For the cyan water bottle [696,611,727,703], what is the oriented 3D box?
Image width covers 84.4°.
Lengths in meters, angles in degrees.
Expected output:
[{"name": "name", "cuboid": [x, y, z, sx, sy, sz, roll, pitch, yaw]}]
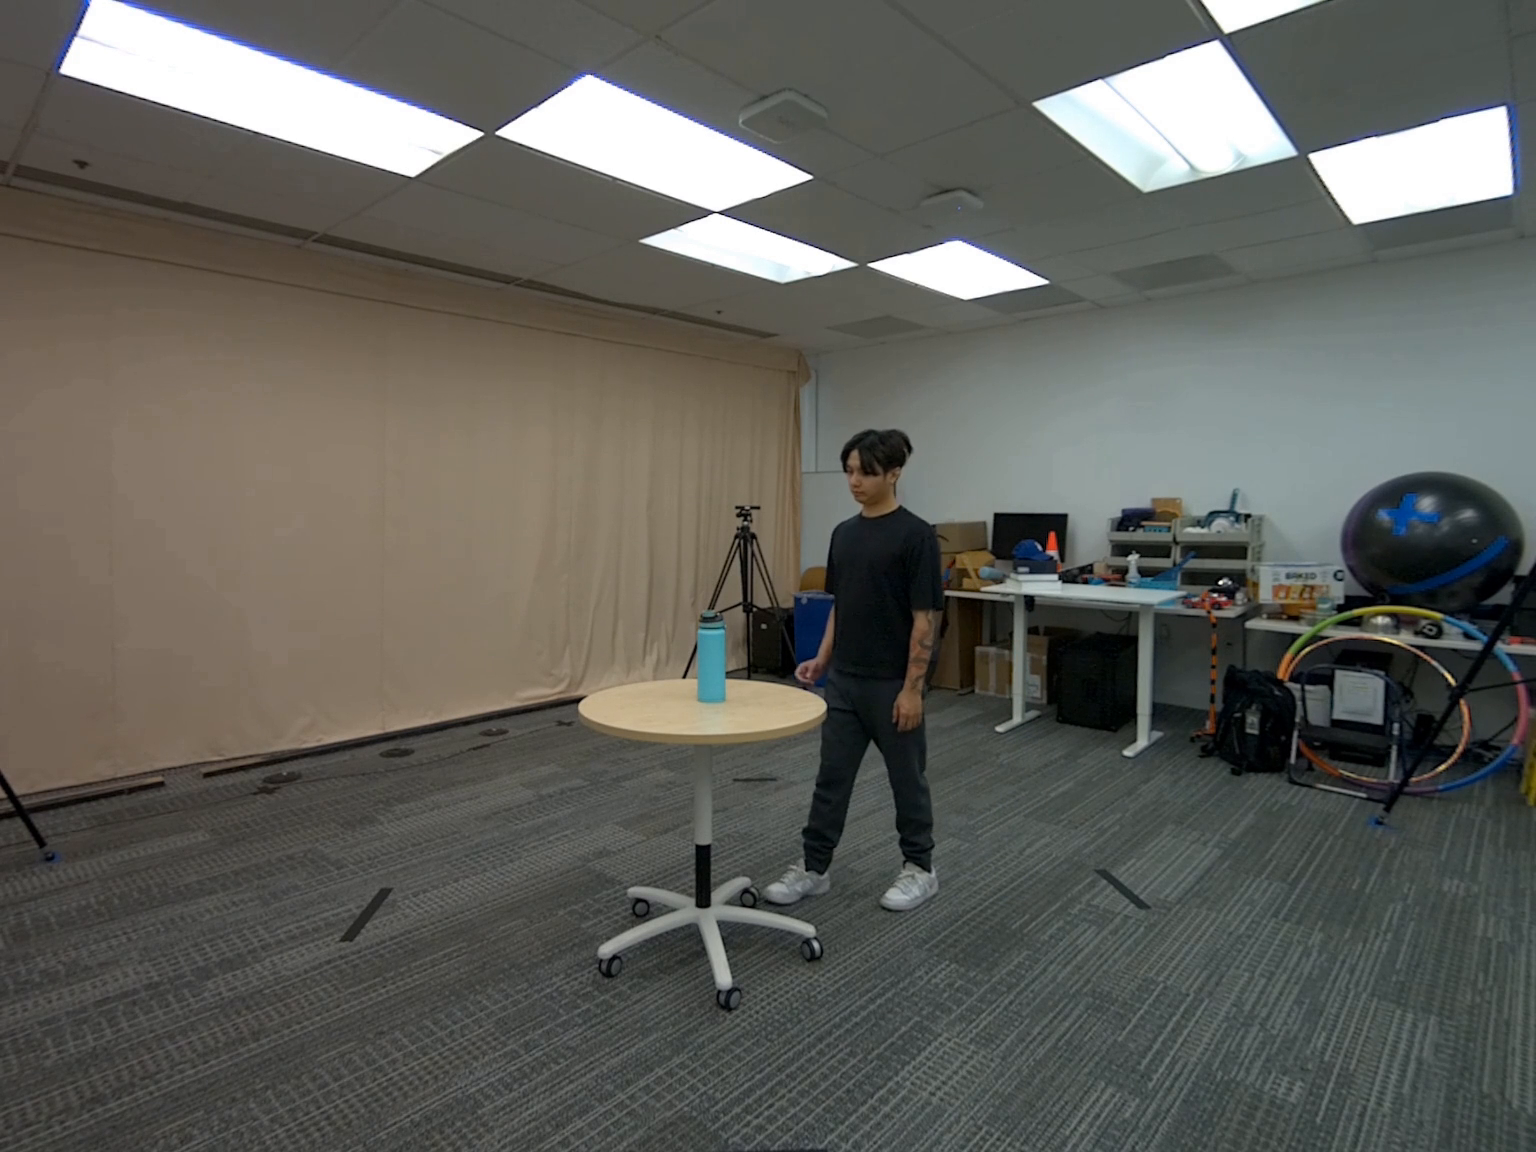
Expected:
[{"name": "cyan water bottle", "cuboid": [-0.174, 0.256, 2.647, 0.092, 0.283, 0.092, 1, 0, -2]}]
